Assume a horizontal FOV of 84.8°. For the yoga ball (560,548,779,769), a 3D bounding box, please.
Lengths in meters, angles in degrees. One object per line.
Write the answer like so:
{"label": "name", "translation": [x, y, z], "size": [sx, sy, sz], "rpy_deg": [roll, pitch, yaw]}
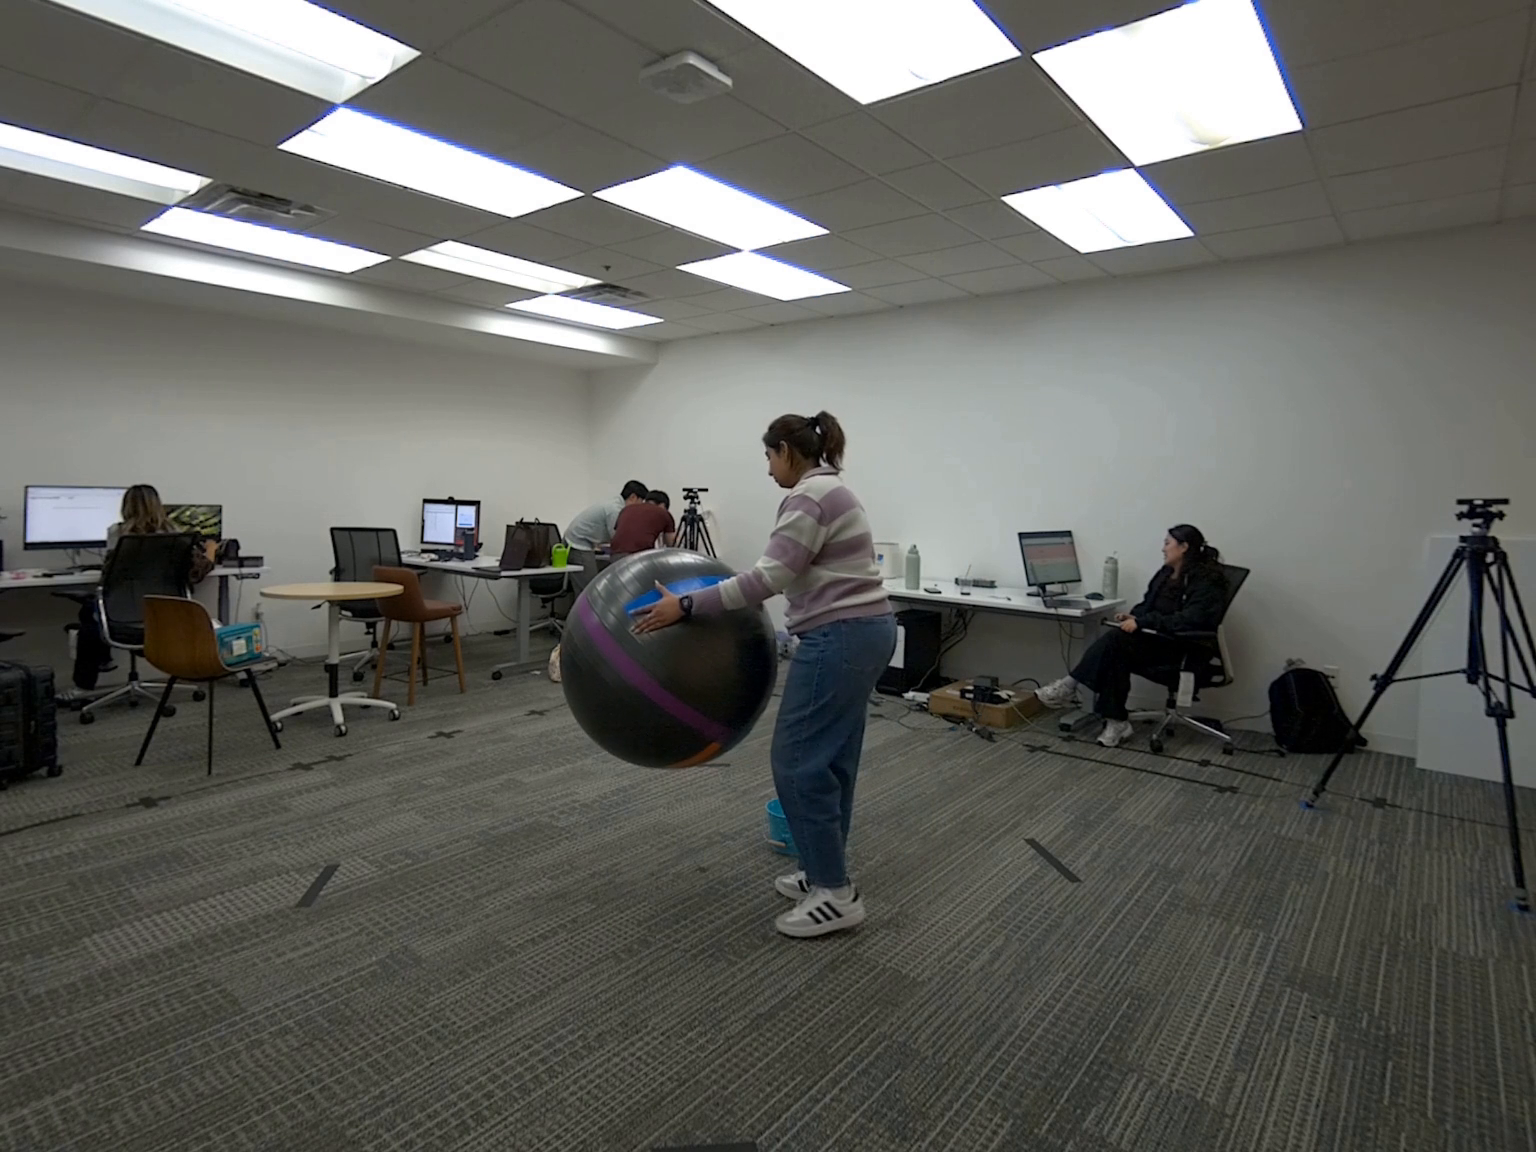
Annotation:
{"label": "yoga ball", "translation": [-0.357, 0.293, 2.969], "size": [0.757, 0.755, 0.762], "rpy_deg": [1, 4, -2]}
